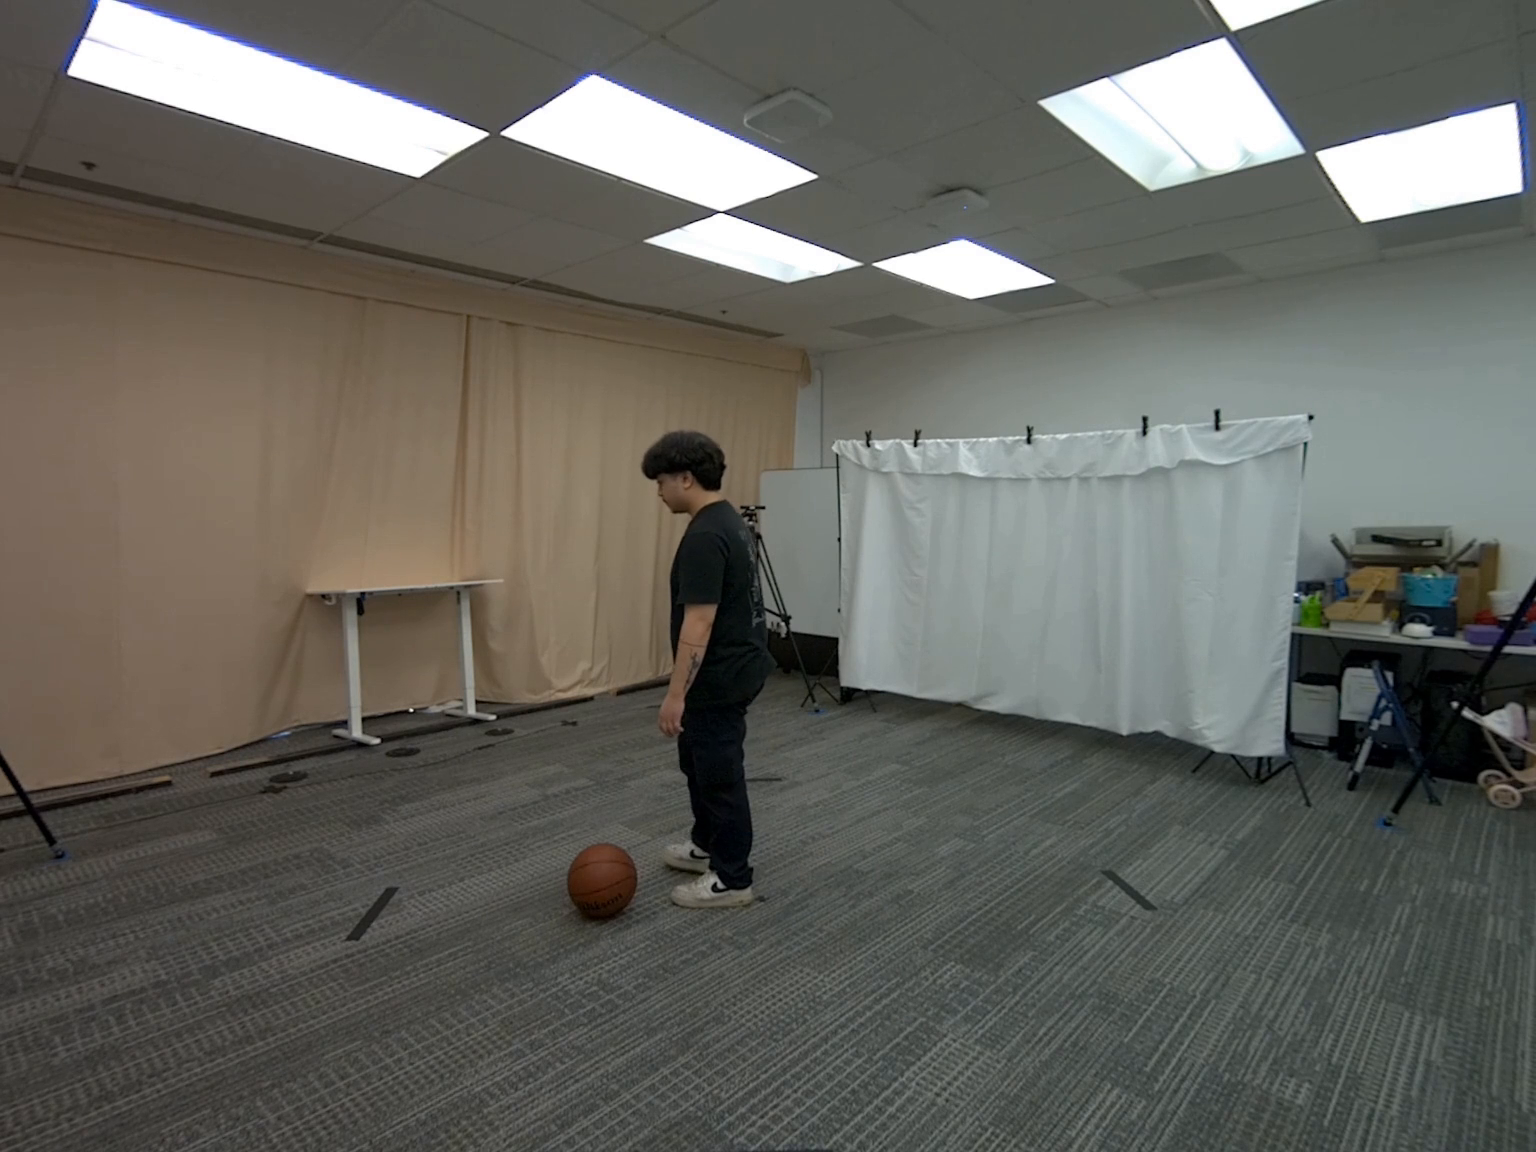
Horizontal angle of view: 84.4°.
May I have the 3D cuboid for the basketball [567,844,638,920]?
[{"bbox_3d":[-0.568,1.038,2.870,0.236,0.235,0.237,0,4,-2],"label":"basketball"}]
